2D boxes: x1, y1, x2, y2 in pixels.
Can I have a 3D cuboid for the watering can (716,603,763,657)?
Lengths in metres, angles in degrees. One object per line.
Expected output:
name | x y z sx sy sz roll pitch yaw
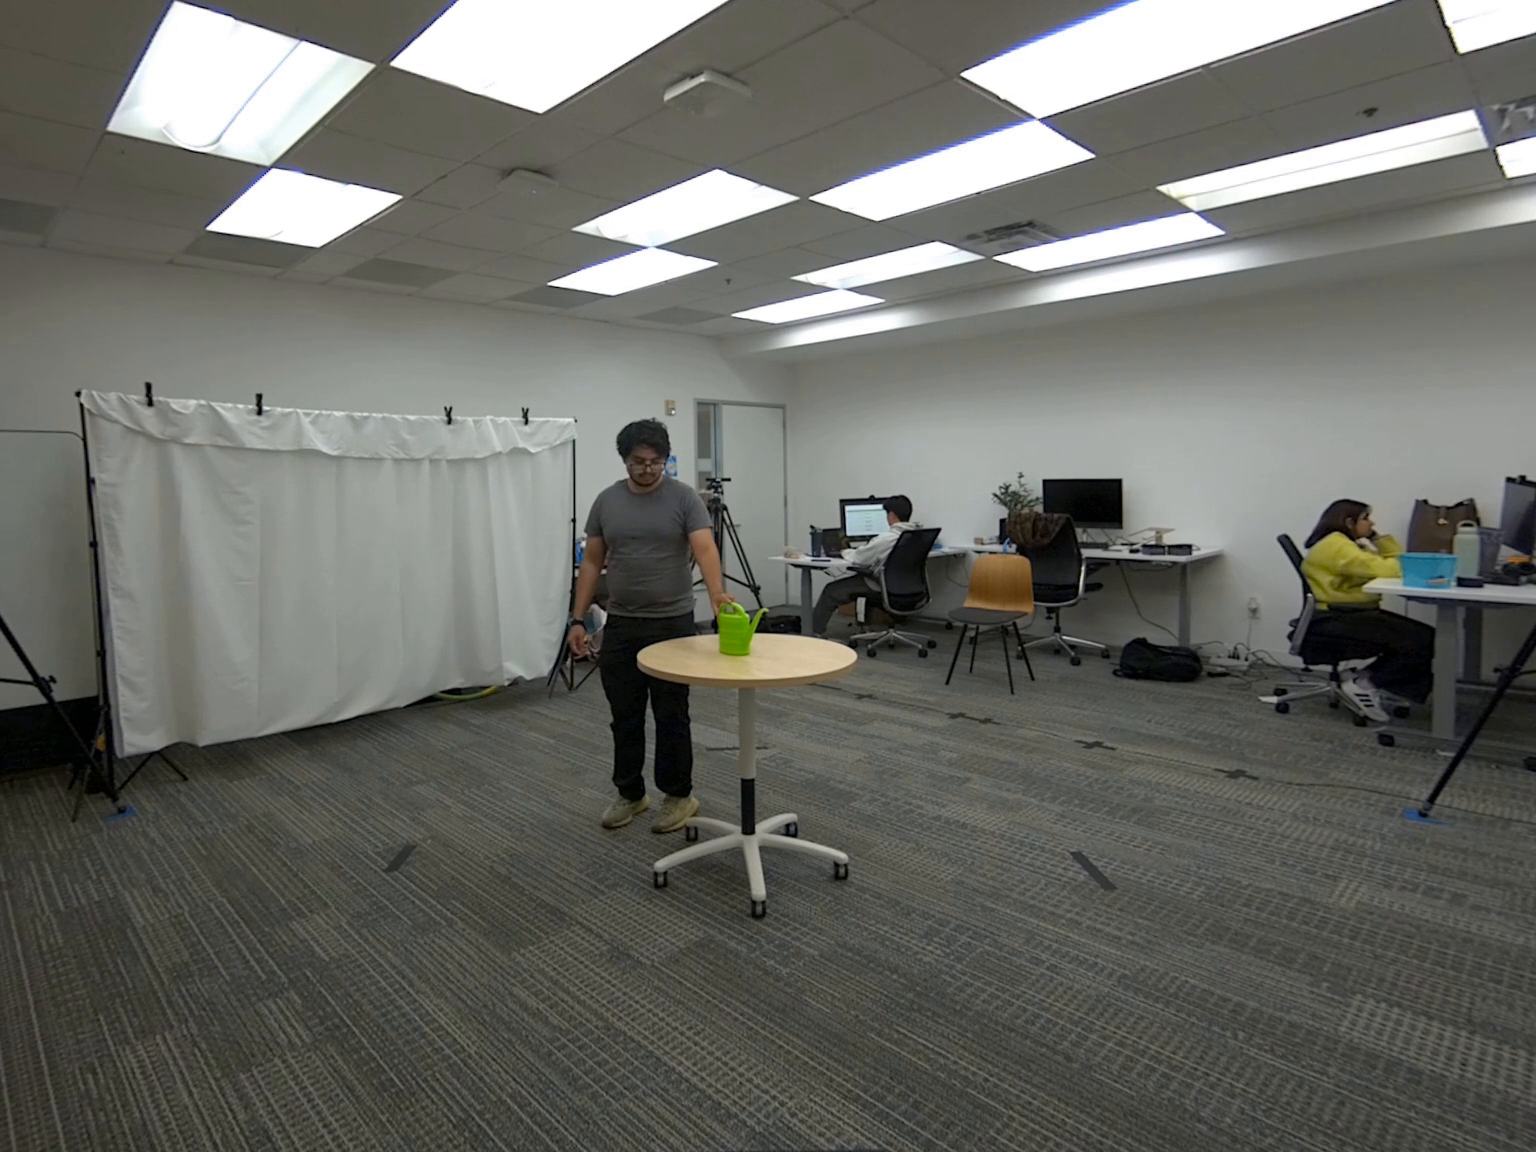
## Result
watering can | -0.095 0.190 2.964 0.096 0.176 0.284 -3 5 -22
